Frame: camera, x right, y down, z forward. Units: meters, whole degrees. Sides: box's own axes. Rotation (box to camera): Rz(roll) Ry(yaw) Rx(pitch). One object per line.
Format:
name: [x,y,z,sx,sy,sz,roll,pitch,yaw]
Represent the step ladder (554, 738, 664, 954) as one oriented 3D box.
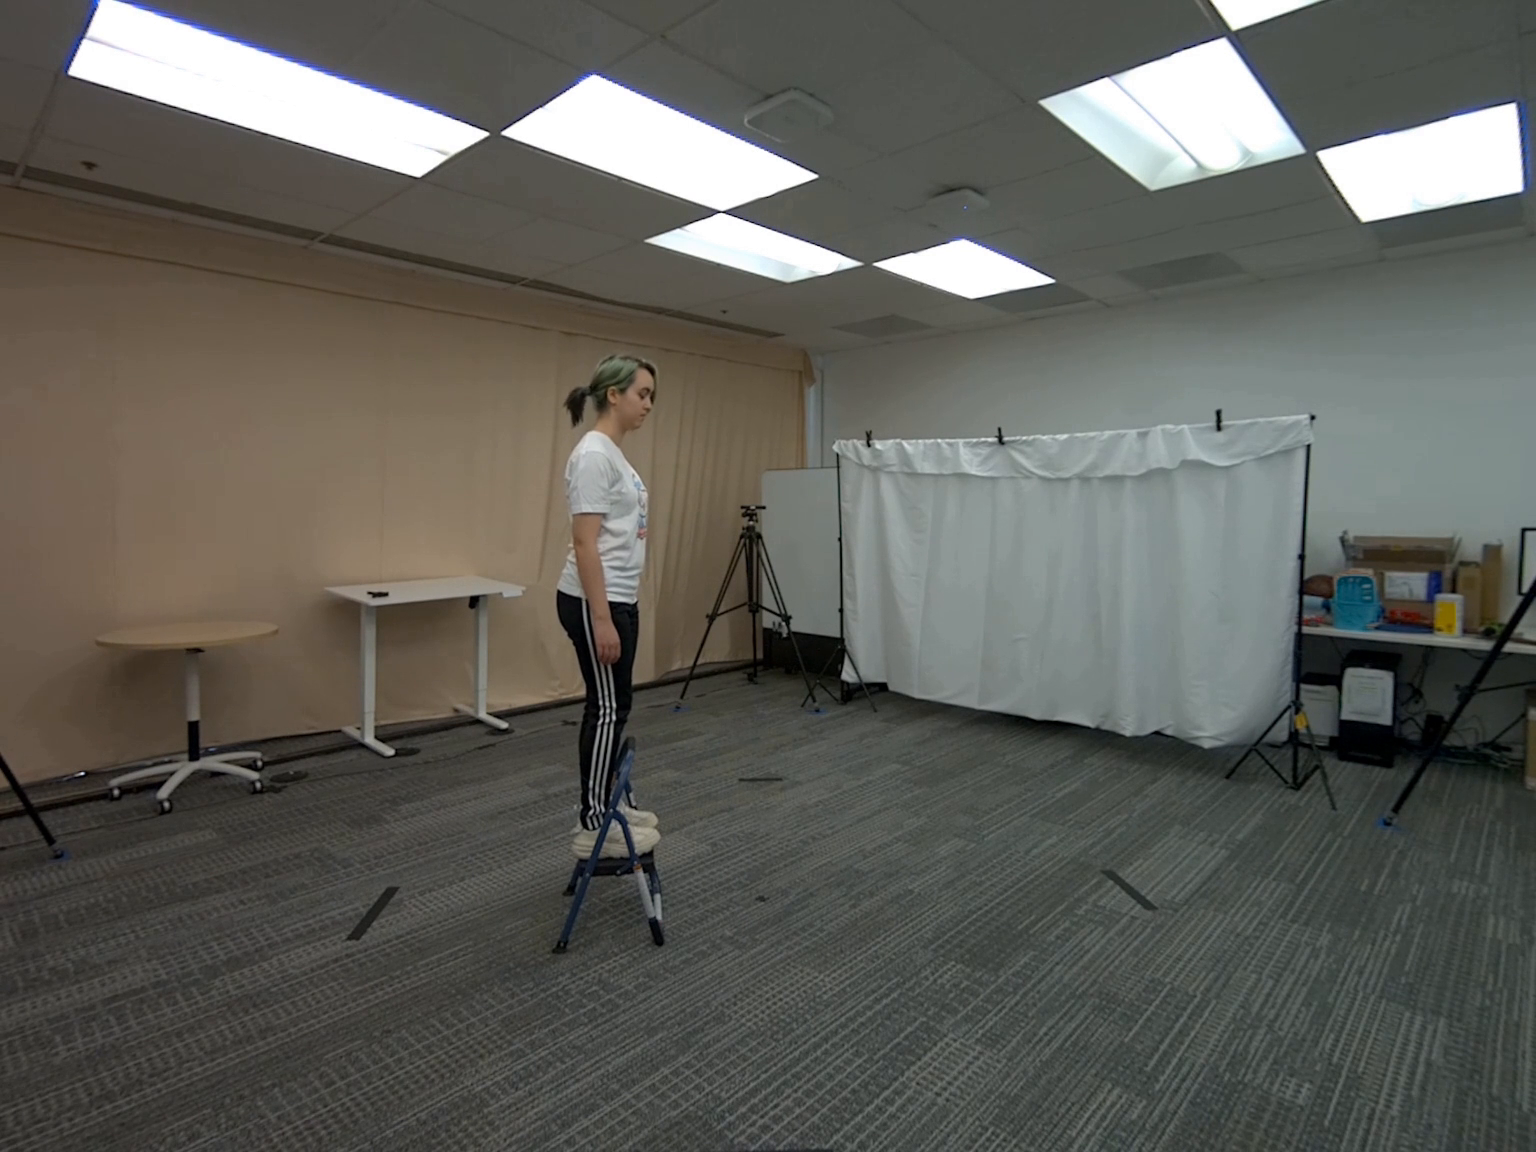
step ladder: [-0.531,0.862,2.836,0.347,0.605,0.435,-2,4,-8]
